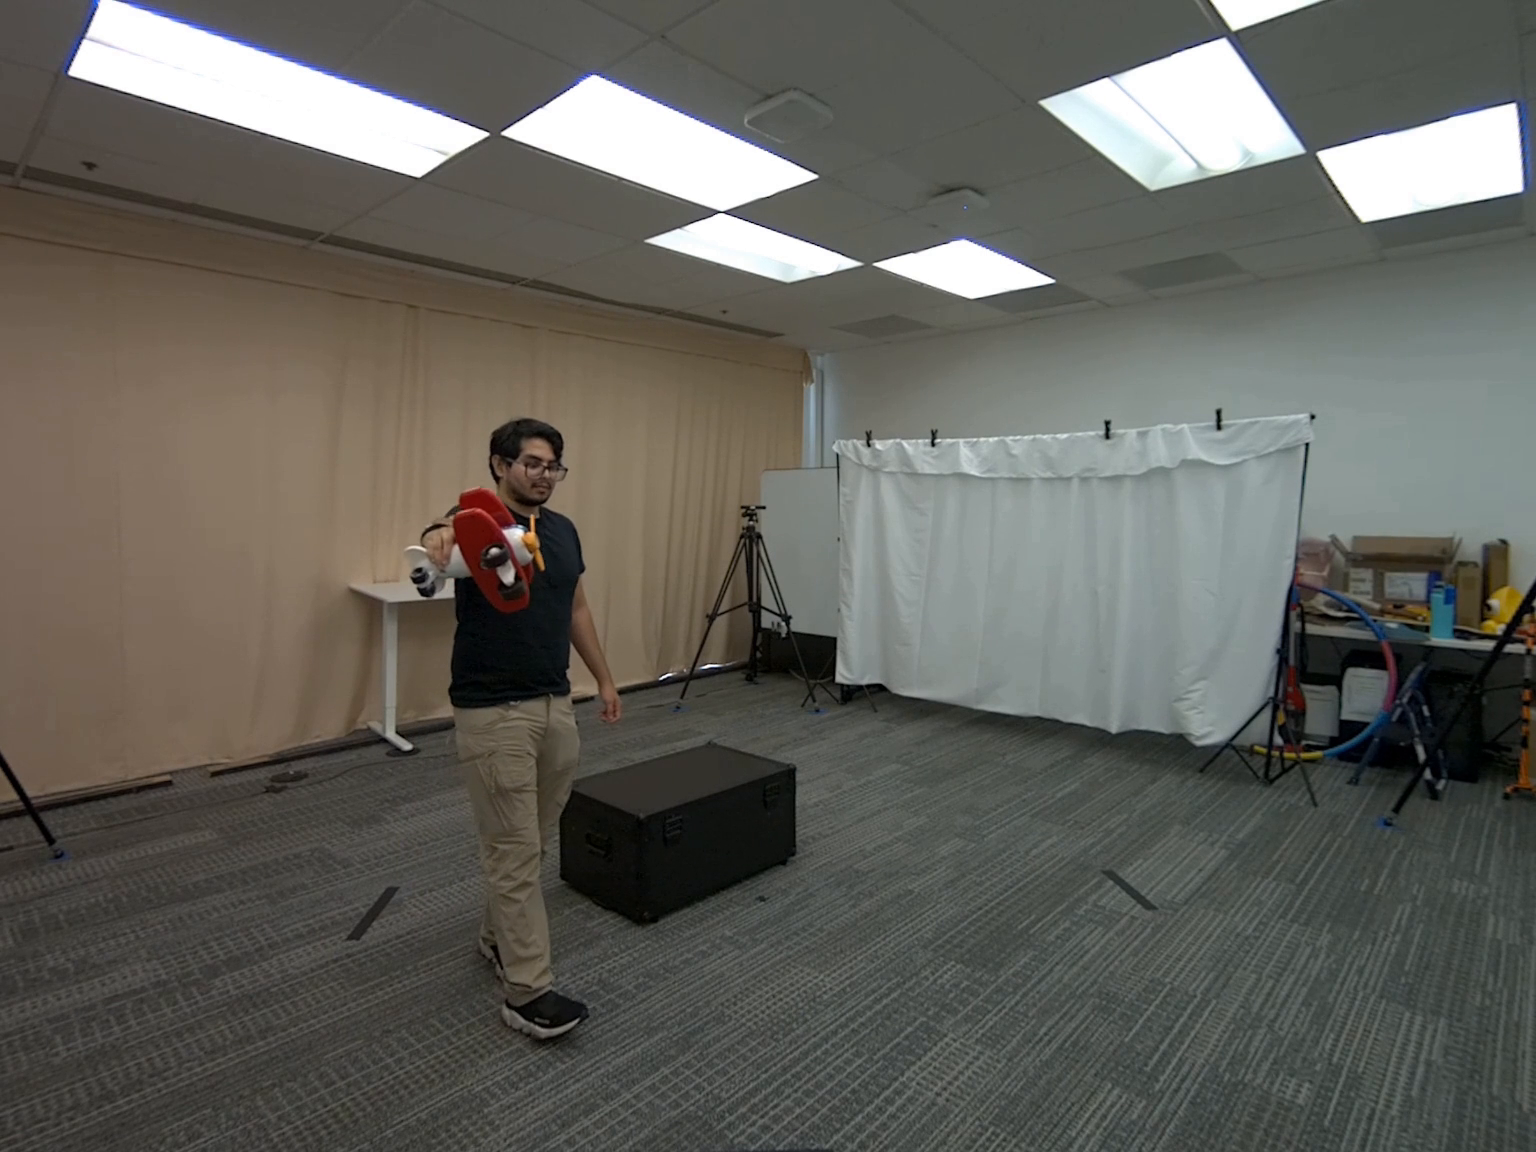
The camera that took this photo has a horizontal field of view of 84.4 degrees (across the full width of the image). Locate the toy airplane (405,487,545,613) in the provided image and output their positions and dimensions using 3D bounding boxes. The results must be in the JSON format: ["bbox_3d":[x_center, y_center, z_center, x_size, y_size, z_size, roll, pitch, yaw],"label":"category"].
[{"bbox_3d":[-0.597,-0.050,1.668,0.258,0.249,0.158,18,39,-4],"label":"toy airplane"}]
